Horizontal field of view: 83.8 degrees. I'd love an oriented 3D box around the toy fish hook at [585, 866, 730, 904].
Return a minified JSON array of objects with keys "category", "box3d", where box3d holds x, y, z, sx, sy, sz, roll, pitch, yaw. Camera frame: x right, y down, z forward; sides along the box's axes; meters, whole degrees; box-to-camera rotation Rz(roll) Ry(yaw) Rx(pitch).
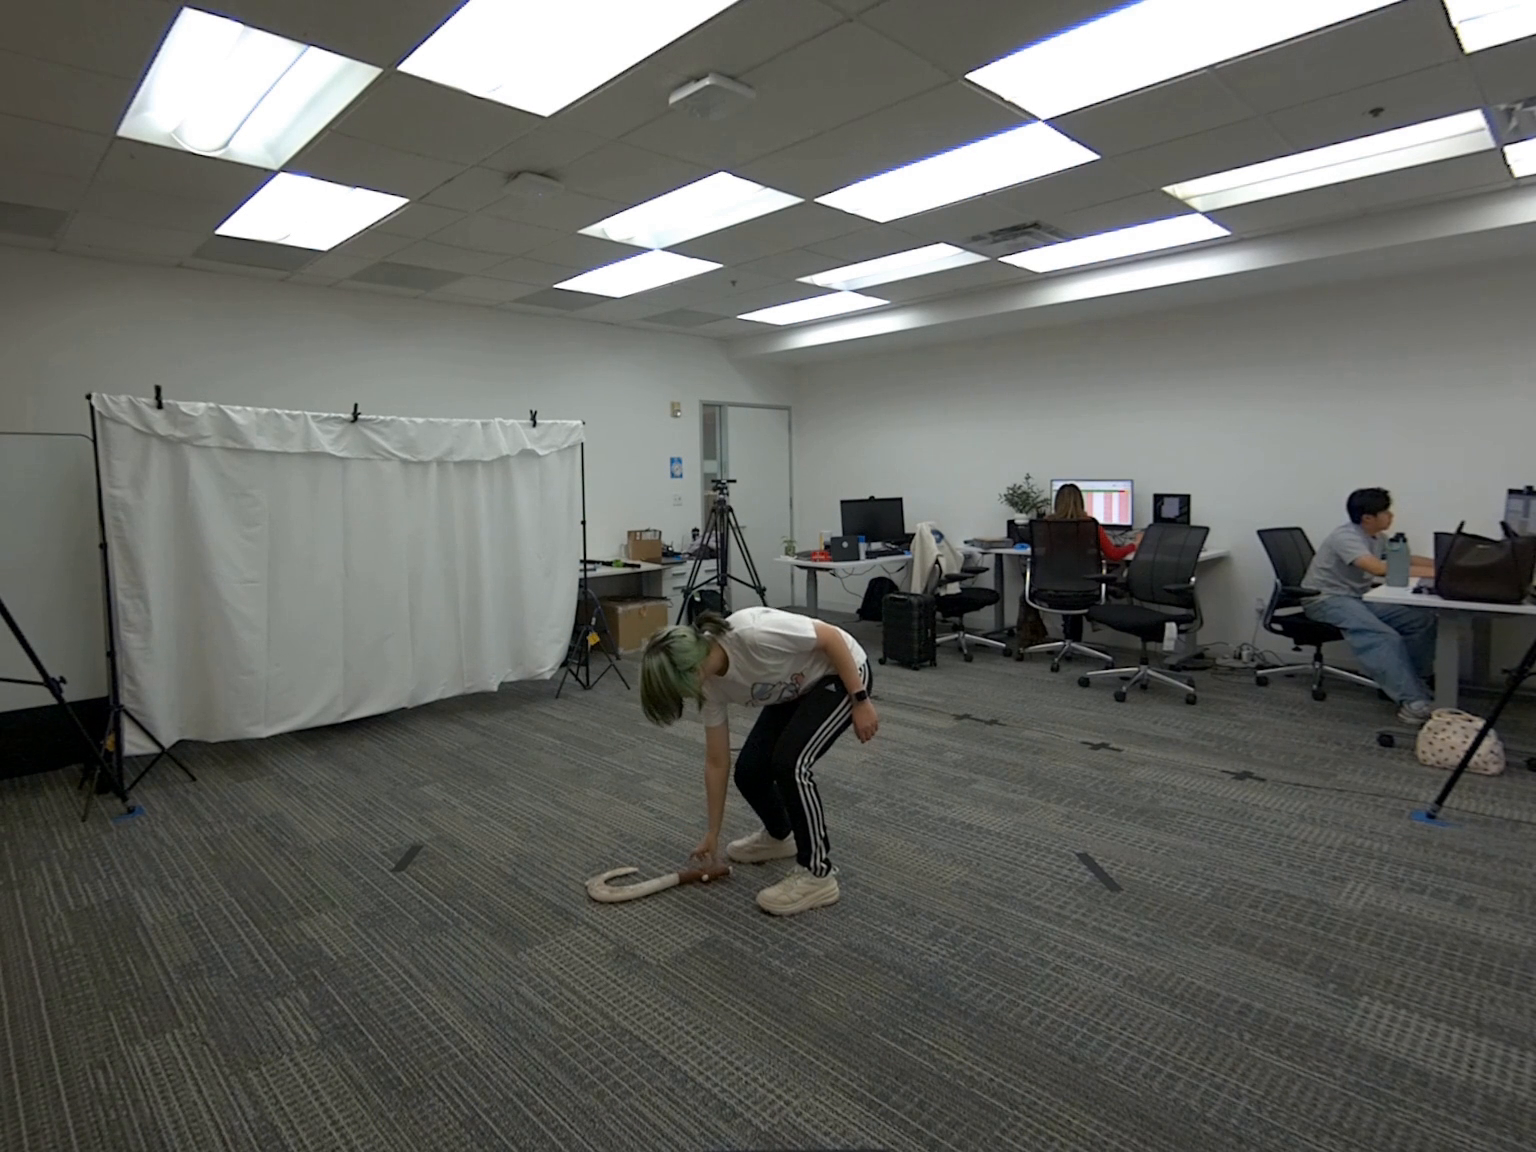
[{"category":"toy fish hook","box3d":[-0.379,1.045,2.983,0.498,0.048,0.230,-4,8,-19]}]
